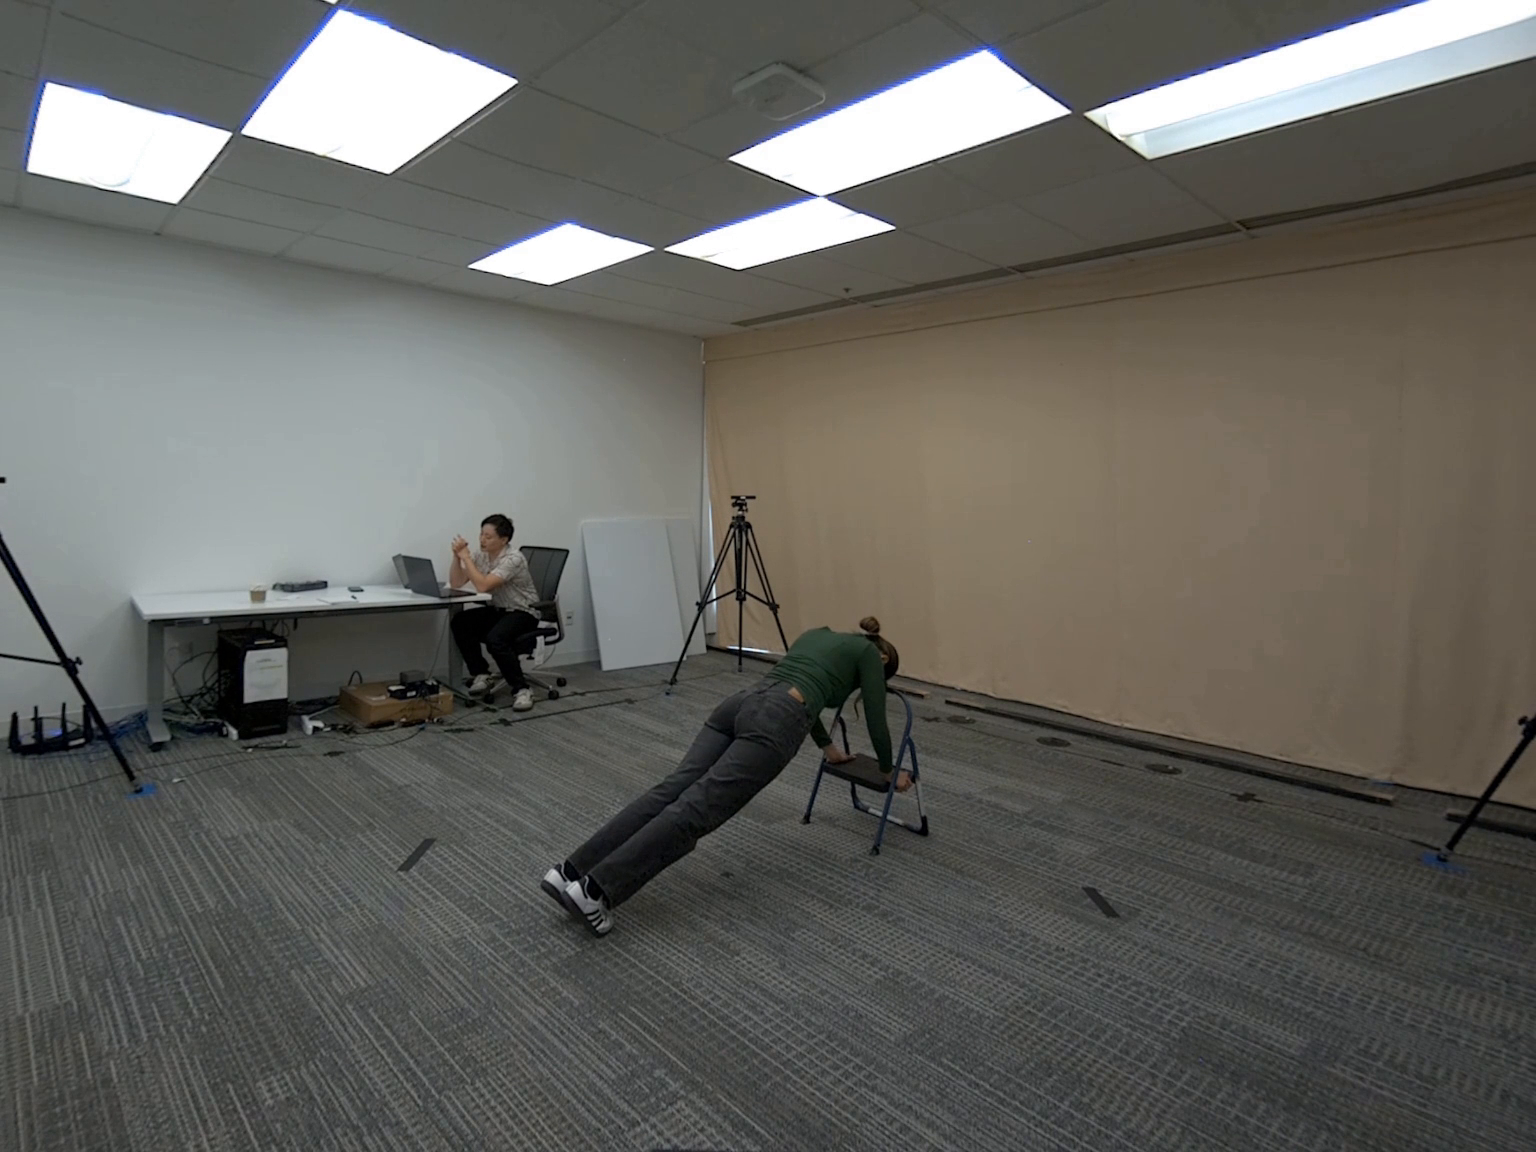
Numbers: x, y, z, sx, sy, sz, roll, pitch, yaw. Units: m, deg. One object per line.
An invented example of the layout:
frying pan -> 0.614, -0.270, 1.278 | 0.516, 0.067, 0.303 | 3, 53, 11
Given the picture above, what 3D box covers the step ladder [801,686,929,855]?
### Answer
step ladder -> 0.411, 0.775, 3.556 | 0.341, 0.605, 0.441 | -1, 4, -40
